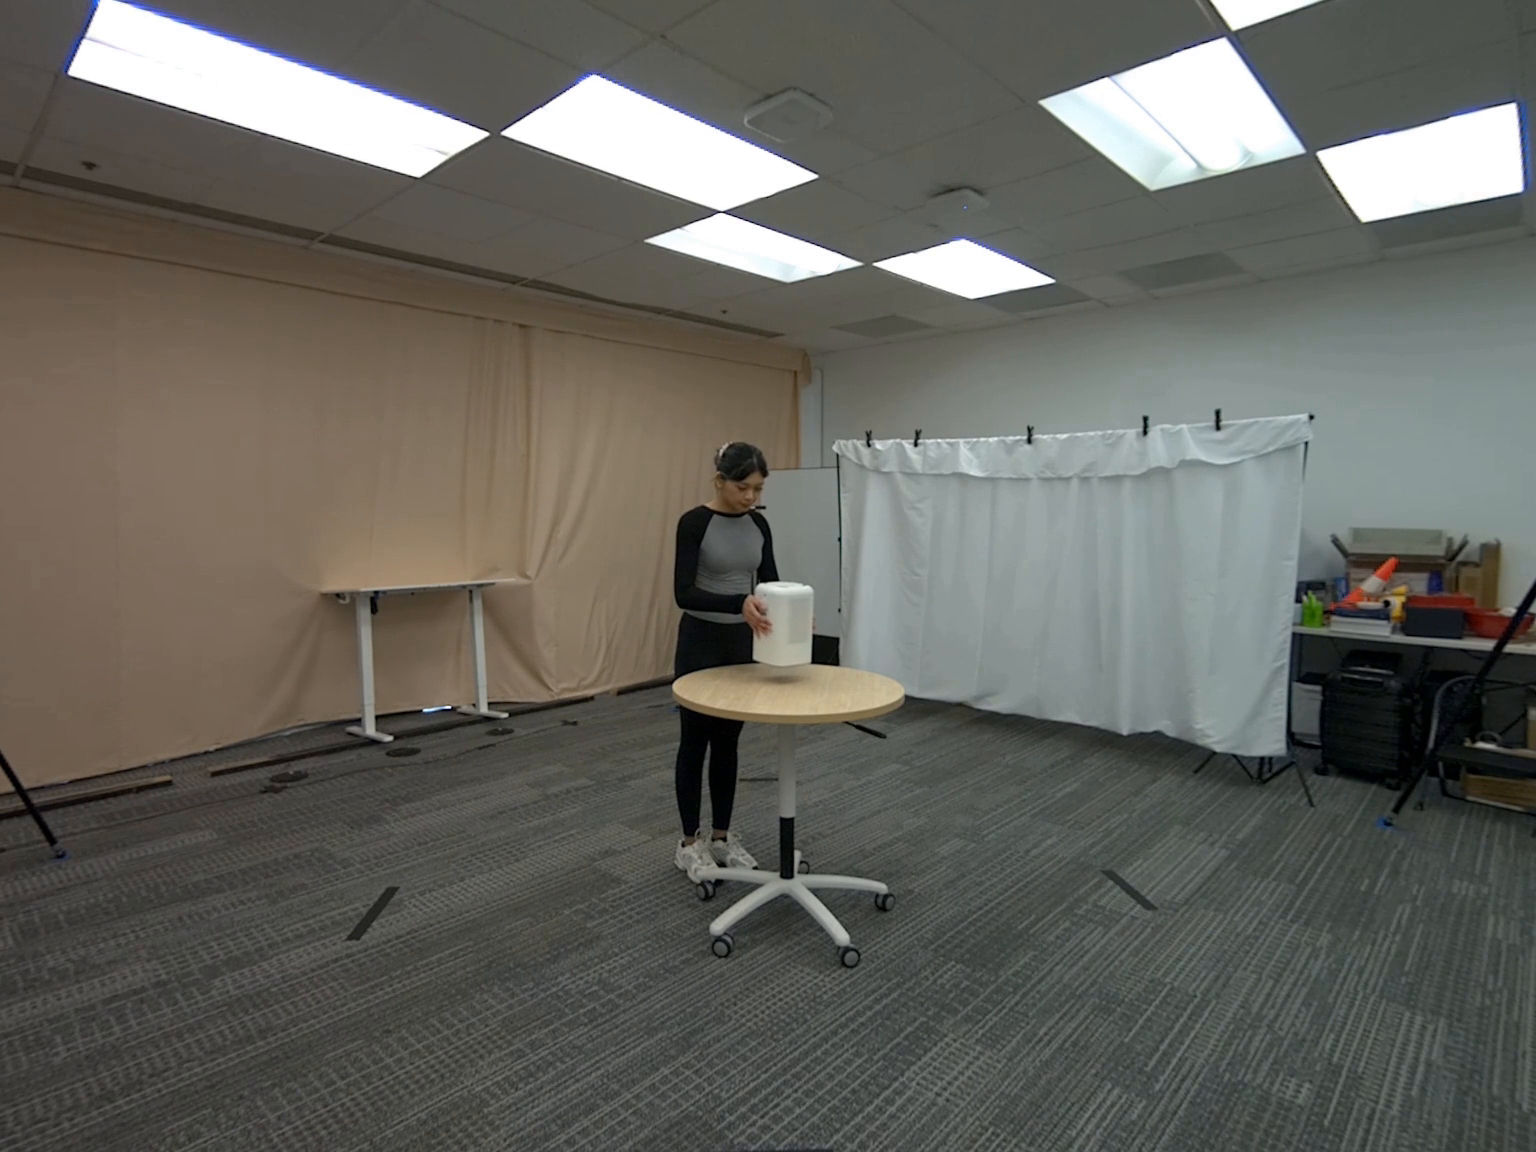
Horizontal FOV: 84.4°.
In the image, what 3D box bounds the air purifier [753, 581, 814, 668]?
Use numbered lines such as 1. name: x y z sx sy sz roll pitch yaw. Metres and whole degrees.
1. air purifier: 0.058 0.161 2.866 0.166 0.264 0.177 -2 7 -43
